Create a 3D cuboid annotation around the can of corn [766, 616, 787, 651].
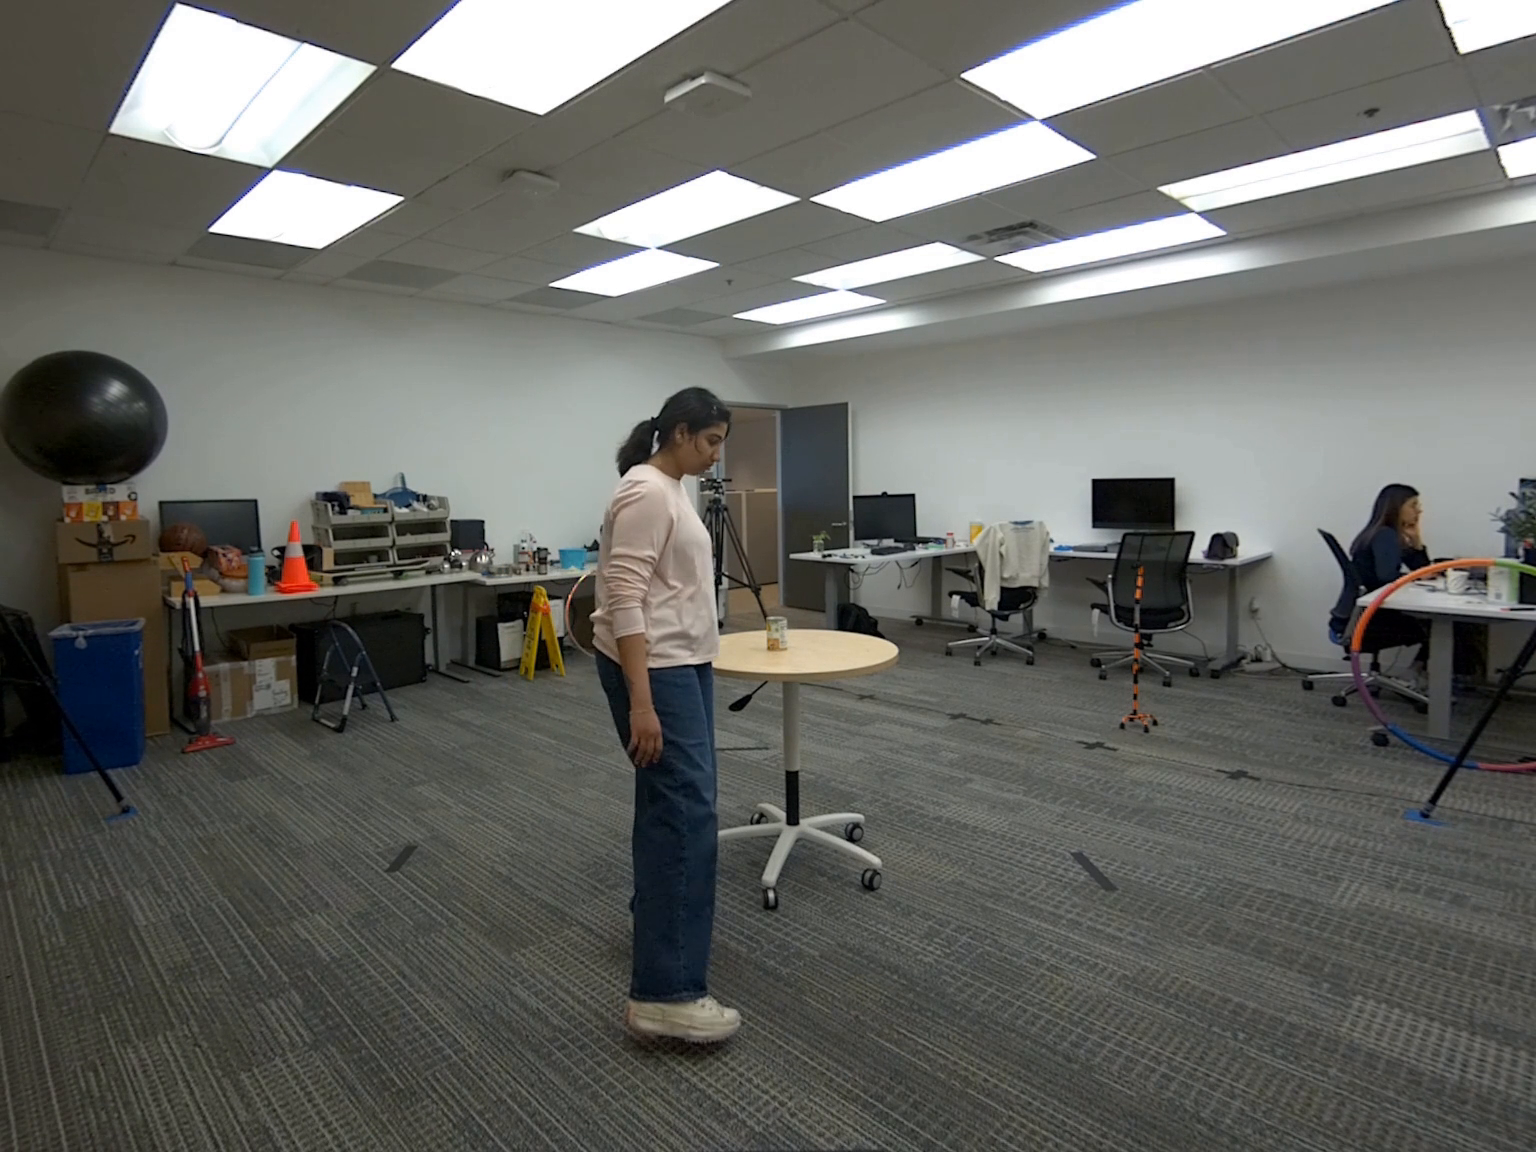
[{"bbox_3d":[0.034,0.205,3.069,0.074,0.110,0.075,-1,6,-2],"label":"can of corn"}]
